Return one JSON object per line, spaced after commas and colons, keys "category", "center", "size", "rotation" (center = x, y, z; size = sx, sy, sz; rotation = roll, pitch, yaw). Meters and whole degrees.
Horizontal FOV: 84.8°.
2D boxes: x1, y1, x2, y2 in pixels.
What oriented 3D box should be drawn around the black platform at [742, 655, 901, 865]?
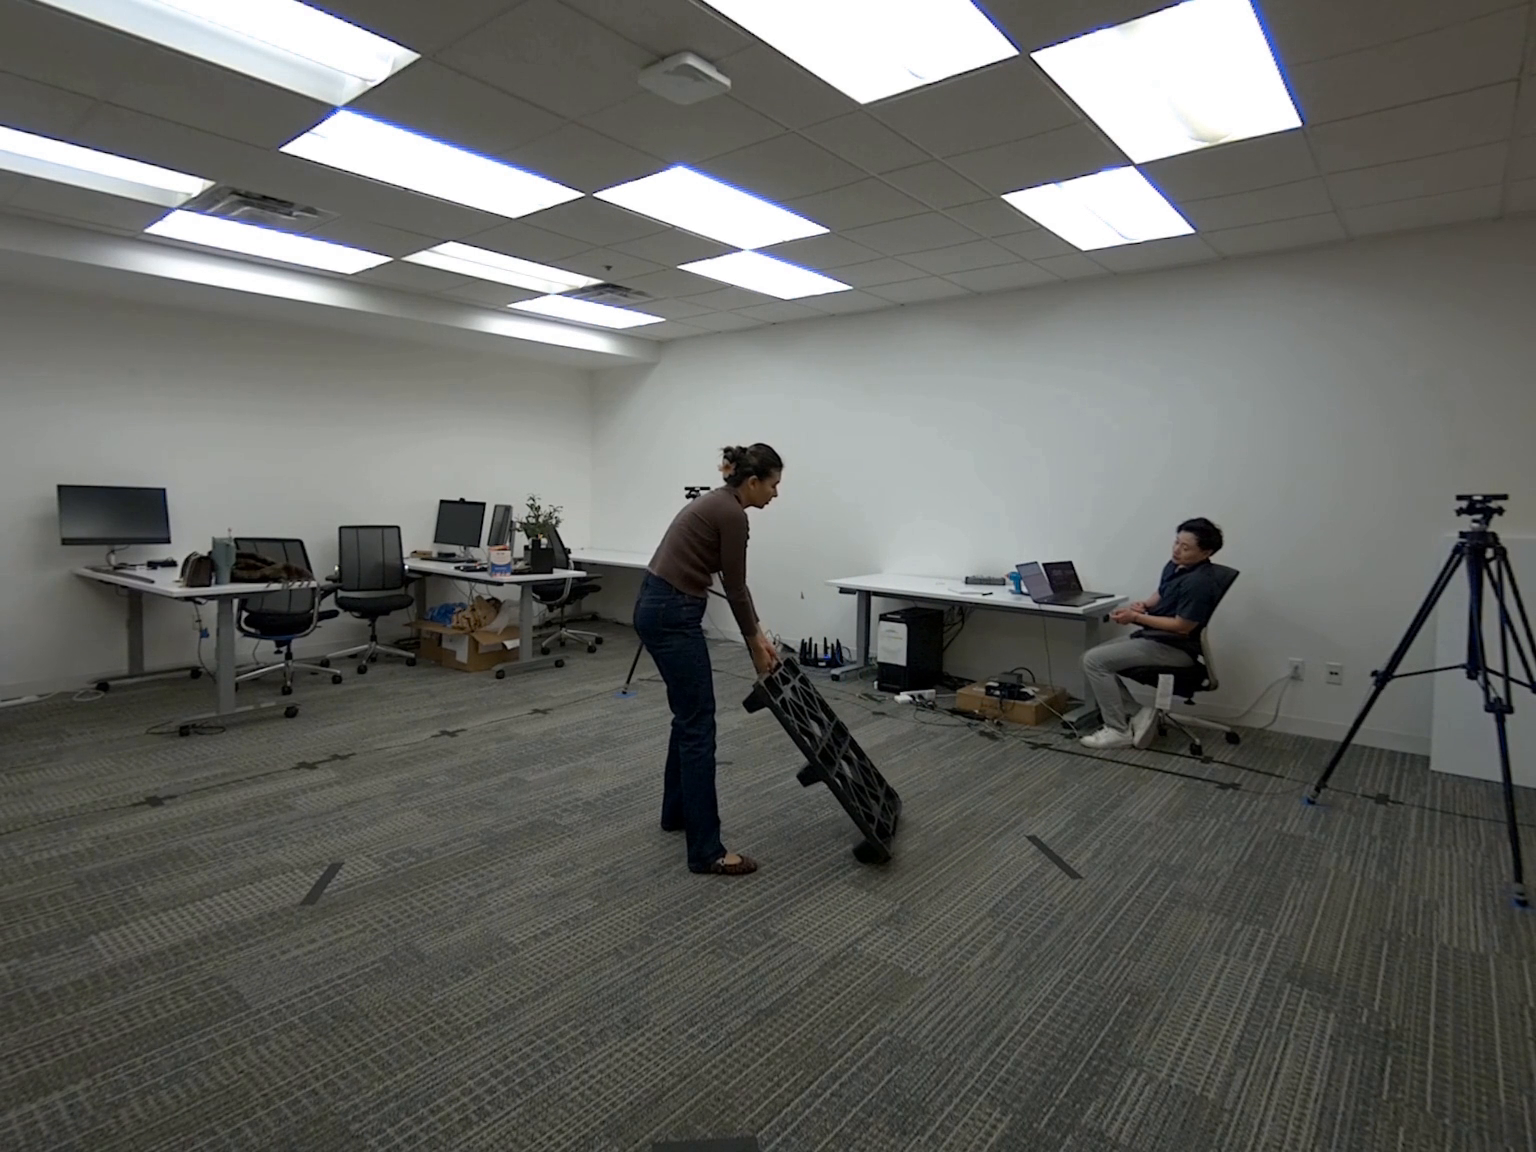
{"category": "black platform", "center": [0.208, 0.714, 3.441], "size": [0.144, 0.814, 0.597], "rotation": [-39, -7, 12]}
